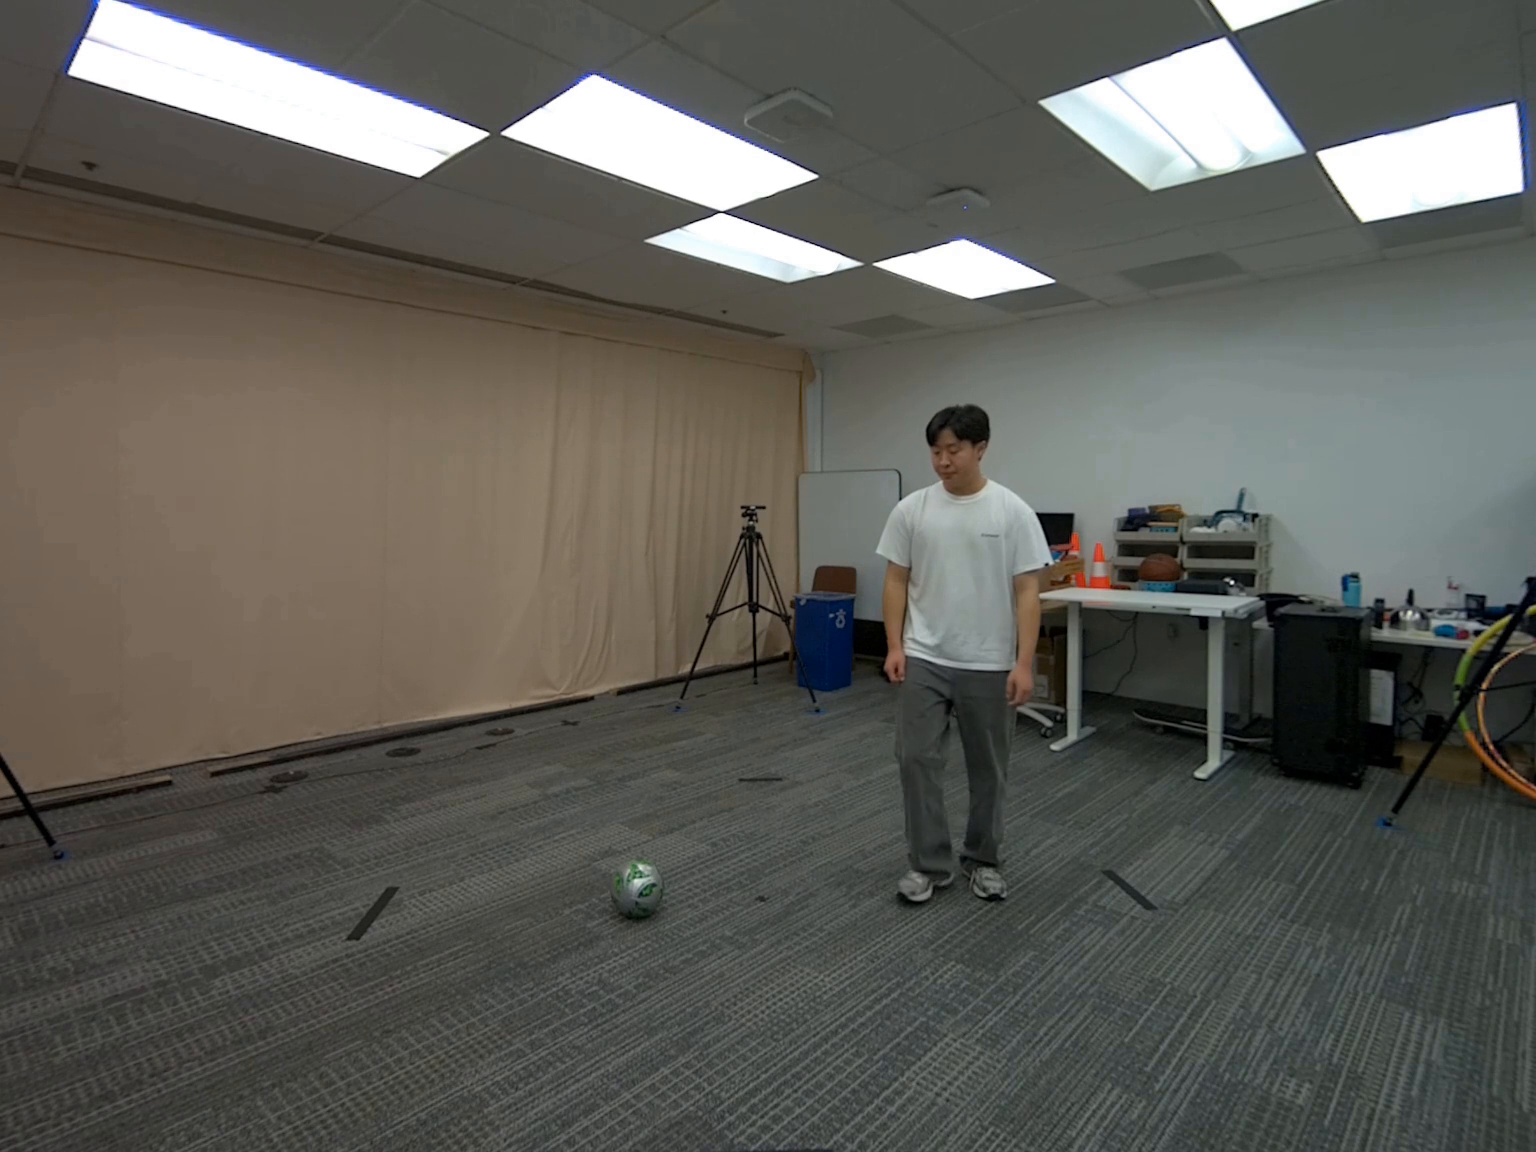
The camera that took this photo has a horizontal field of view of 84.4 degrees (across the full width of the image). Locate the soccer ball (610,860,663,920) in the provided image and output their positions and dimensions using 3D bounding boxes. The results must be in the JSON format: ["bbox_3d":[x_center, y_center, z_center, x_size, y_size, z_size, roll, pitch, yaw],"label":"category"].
[{"bbox_3d":[-0.439,1.066,2.875,0.187,0.187,0.188,0,4,-2],"label":"soccer ball"}]
